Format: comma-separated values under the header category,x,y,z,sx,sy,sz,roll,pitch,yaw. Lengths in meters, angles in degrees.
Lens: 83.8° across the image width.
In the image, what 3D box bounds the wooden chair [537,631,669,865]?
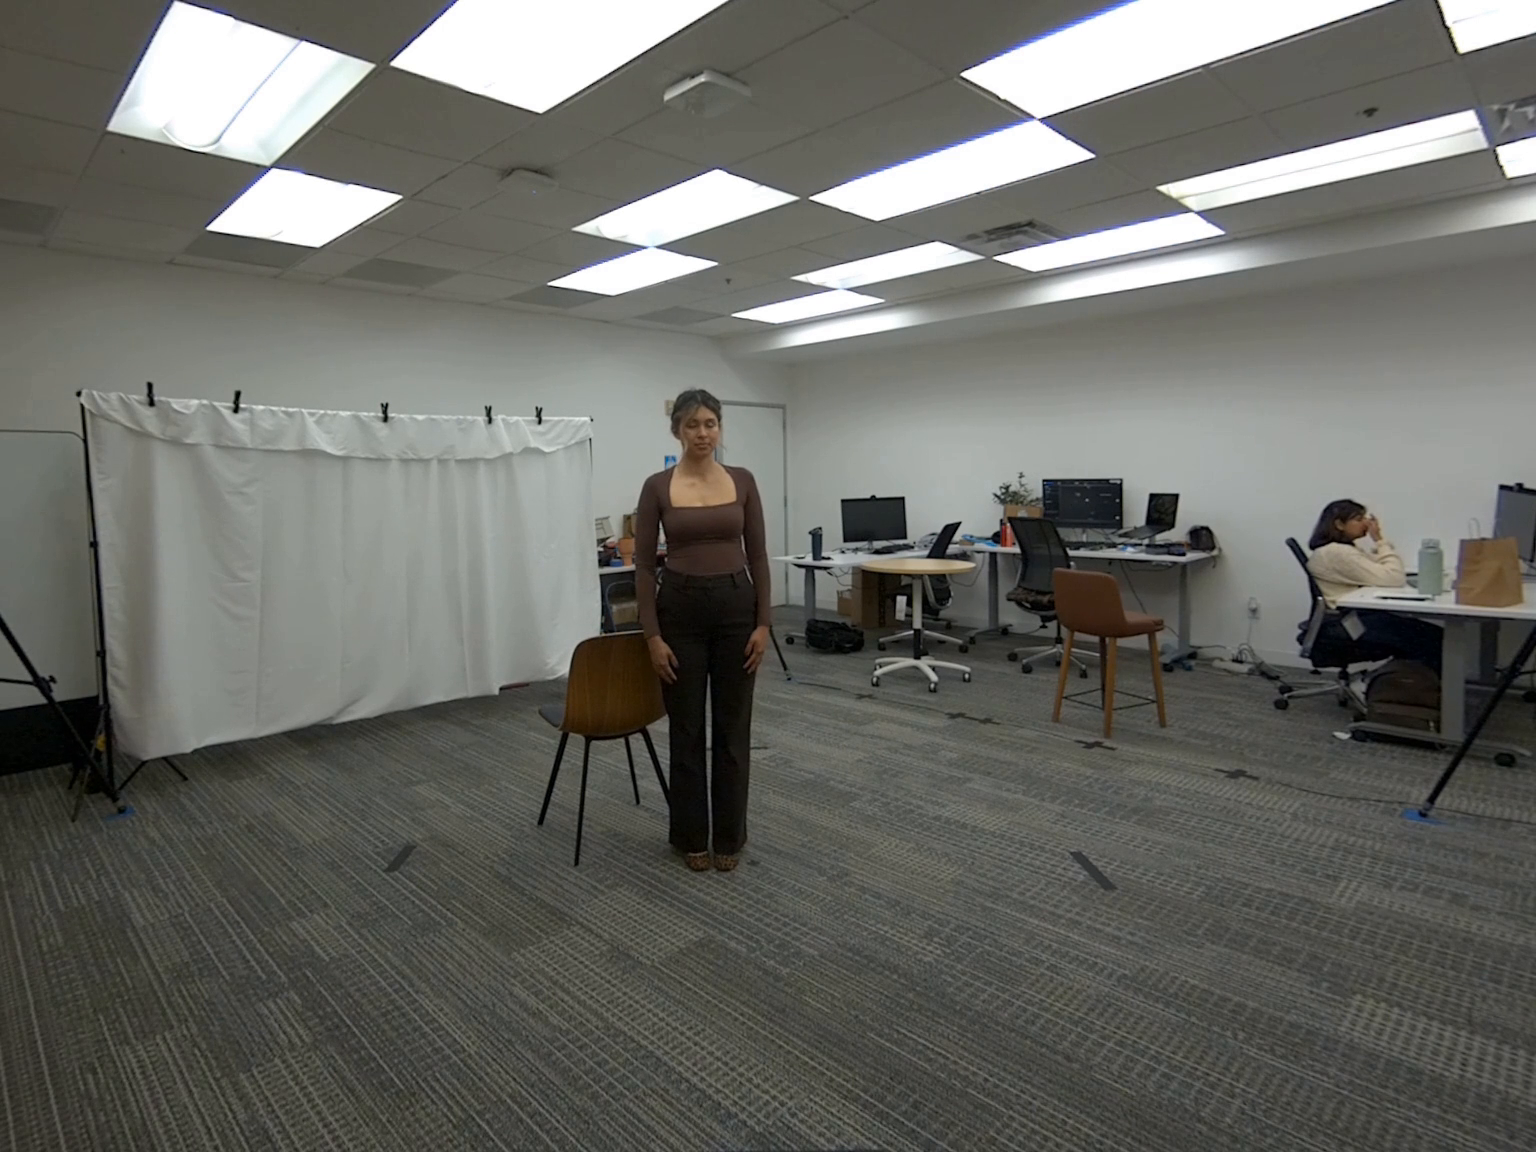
category,x,y,z,sx,sy,sz,roll,pitch,yaw
wooden chair,-0.641,0.597,3.374,0.467,0.871,0.539,-3,9,-30
